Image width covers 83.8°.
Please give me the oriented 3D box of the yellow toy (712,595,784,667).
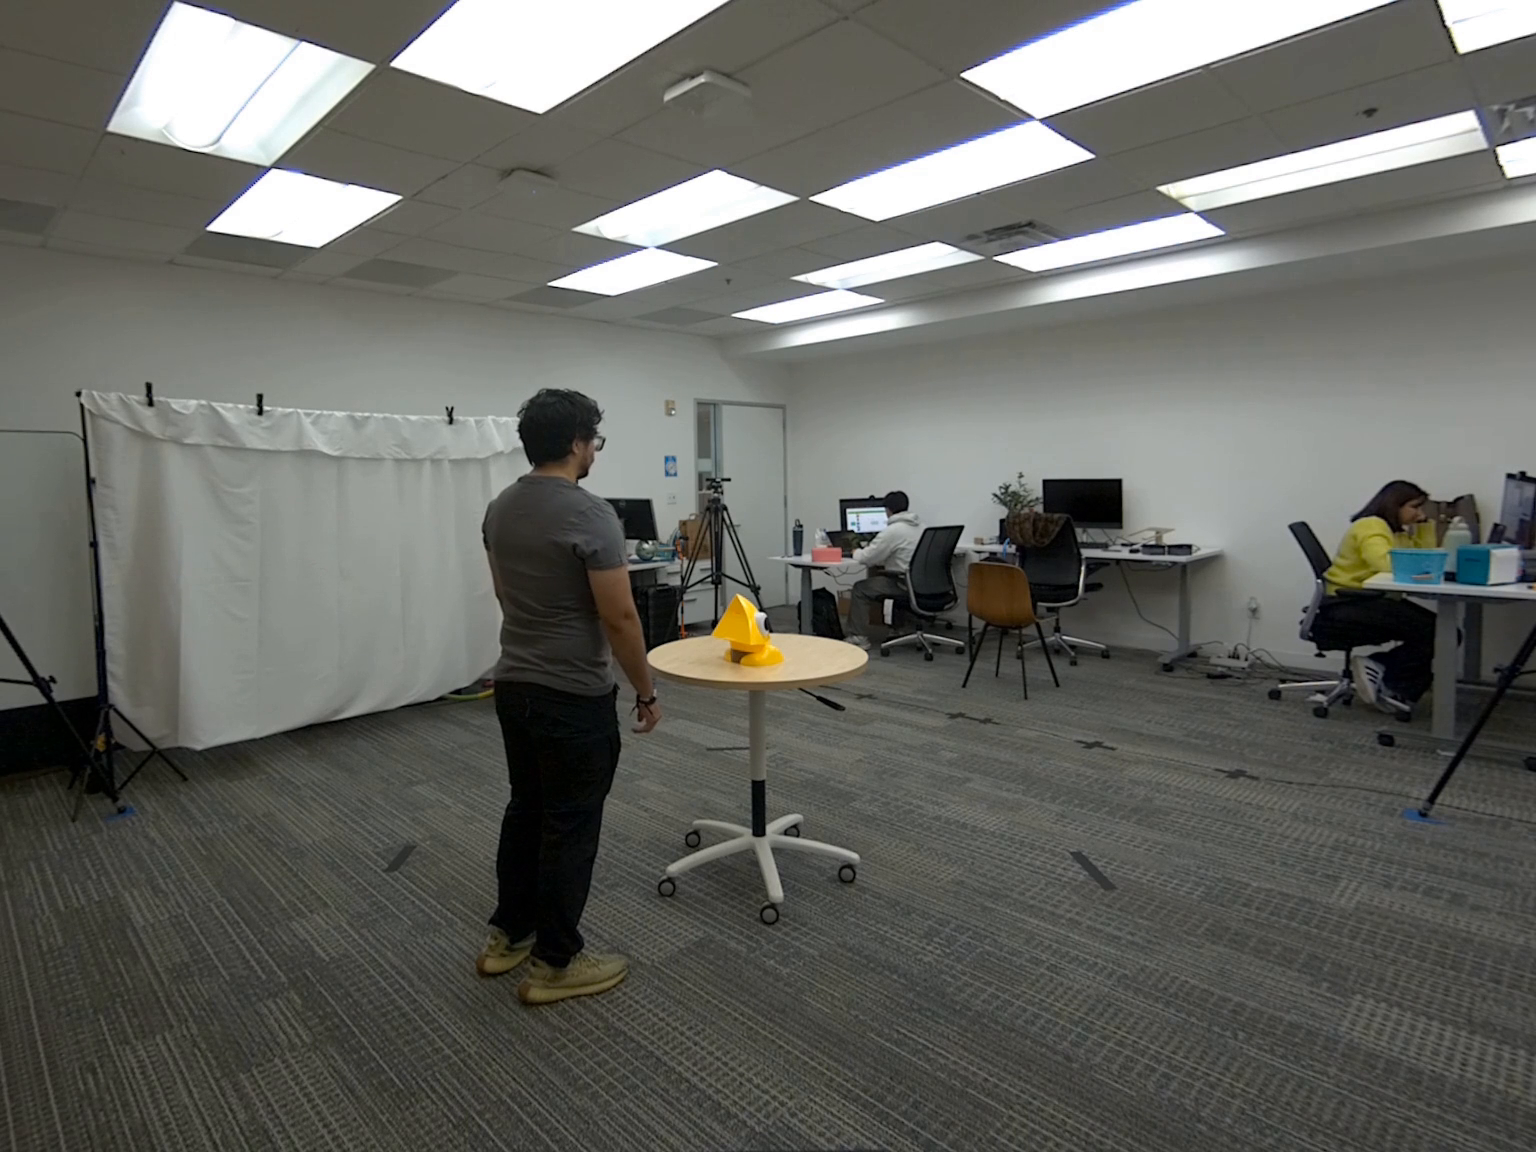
[{"bbox_3d":[-0.058,0.170,2.884,0.188,0.230,0.211,-5,7,-40],"label":"yellow toy"}]
